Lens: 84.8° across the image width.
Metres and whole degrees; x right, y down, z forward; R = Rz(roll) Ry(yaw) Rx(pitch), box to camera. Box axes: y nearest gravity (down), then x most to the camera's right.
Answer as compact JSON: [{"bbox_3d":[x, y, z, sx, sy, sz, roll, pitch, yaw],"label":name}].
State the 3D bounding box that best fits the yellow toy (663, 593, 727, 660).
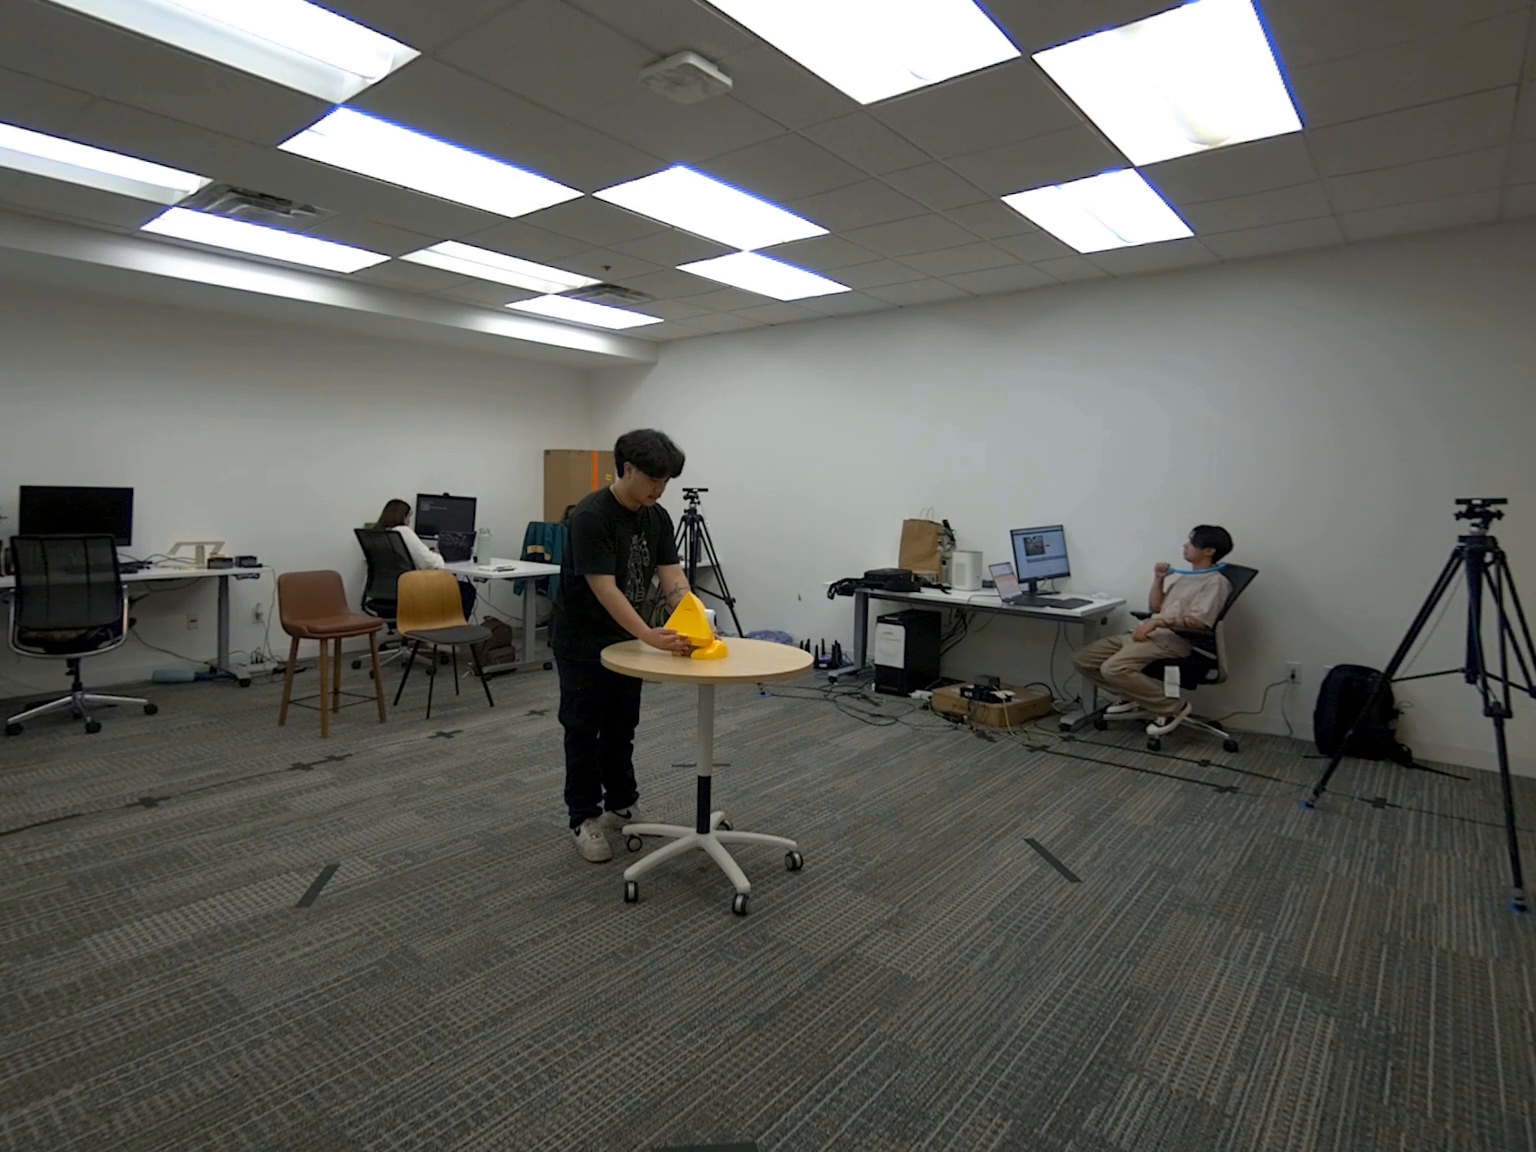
[{"bbox_3d":[-0.254,0.164,3.065,0.211,0.230,0.187,4,3,37],"label":"yellow toy"}]
